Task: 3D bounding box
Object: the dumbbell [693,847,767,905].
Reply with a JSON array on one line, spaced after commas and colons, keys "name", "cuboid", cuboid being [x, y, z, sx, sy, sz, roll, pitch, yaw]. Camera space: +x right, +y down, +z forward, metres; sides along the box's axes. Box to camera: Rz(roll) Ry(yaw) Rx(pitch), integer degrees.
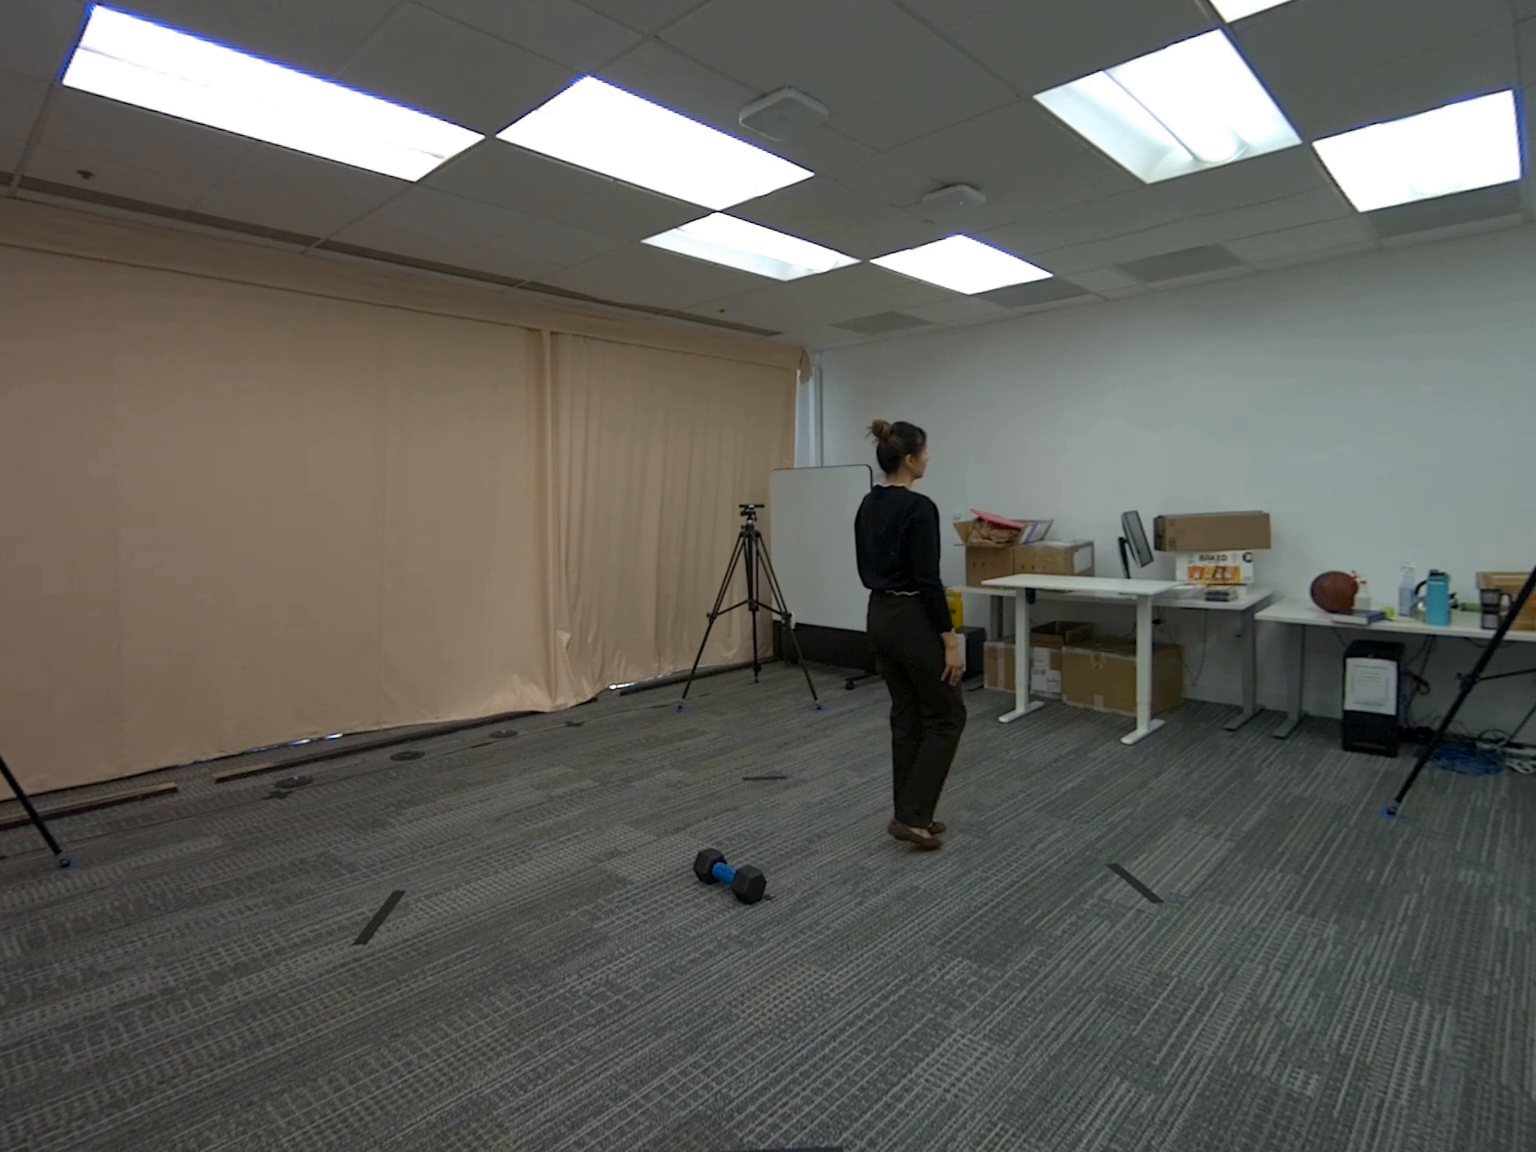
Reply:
[{"name": "dumbbell", "cuboid": [-0.137, 1.082, 3.045, 0.119, 0.108, 0.303, -4, 6, -43]}]
